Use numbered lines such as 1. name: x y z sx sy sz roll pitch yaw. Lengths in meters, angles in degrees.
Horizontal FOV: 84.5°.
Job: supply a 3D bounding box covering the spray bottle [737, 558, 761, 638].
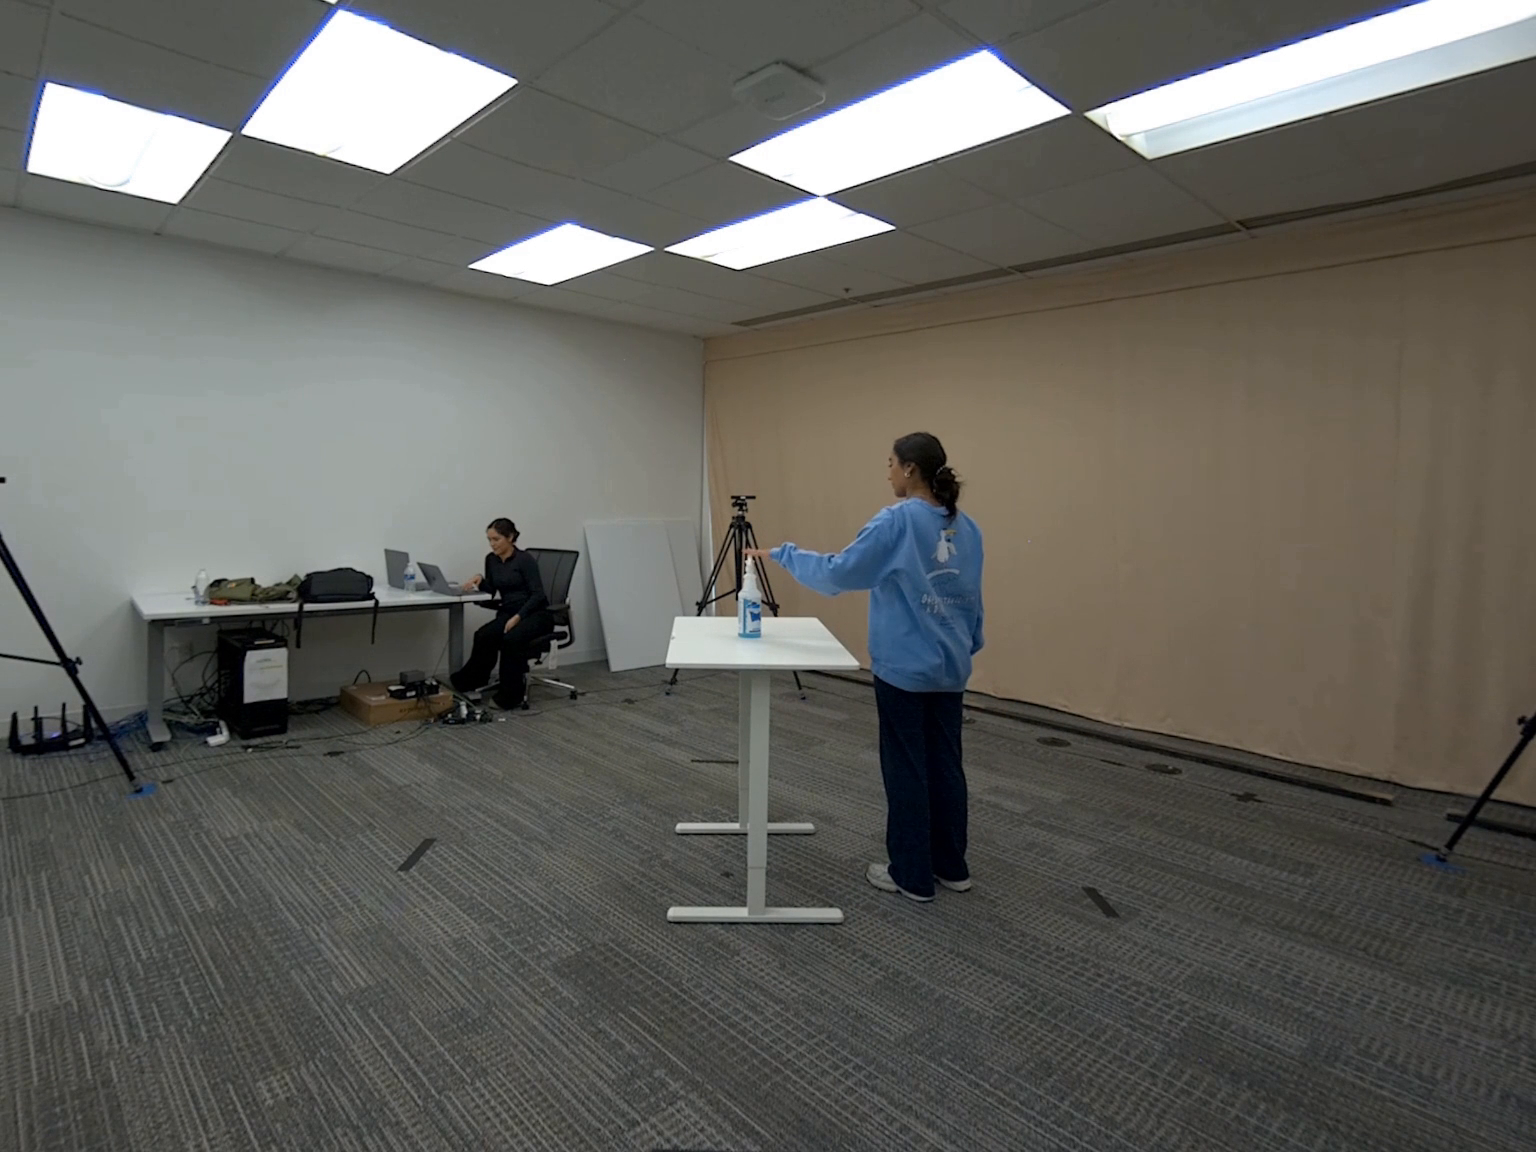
1. spray bottle: -0.069 0.076 3.096 0.088 0.297 0.088 2 2 21
